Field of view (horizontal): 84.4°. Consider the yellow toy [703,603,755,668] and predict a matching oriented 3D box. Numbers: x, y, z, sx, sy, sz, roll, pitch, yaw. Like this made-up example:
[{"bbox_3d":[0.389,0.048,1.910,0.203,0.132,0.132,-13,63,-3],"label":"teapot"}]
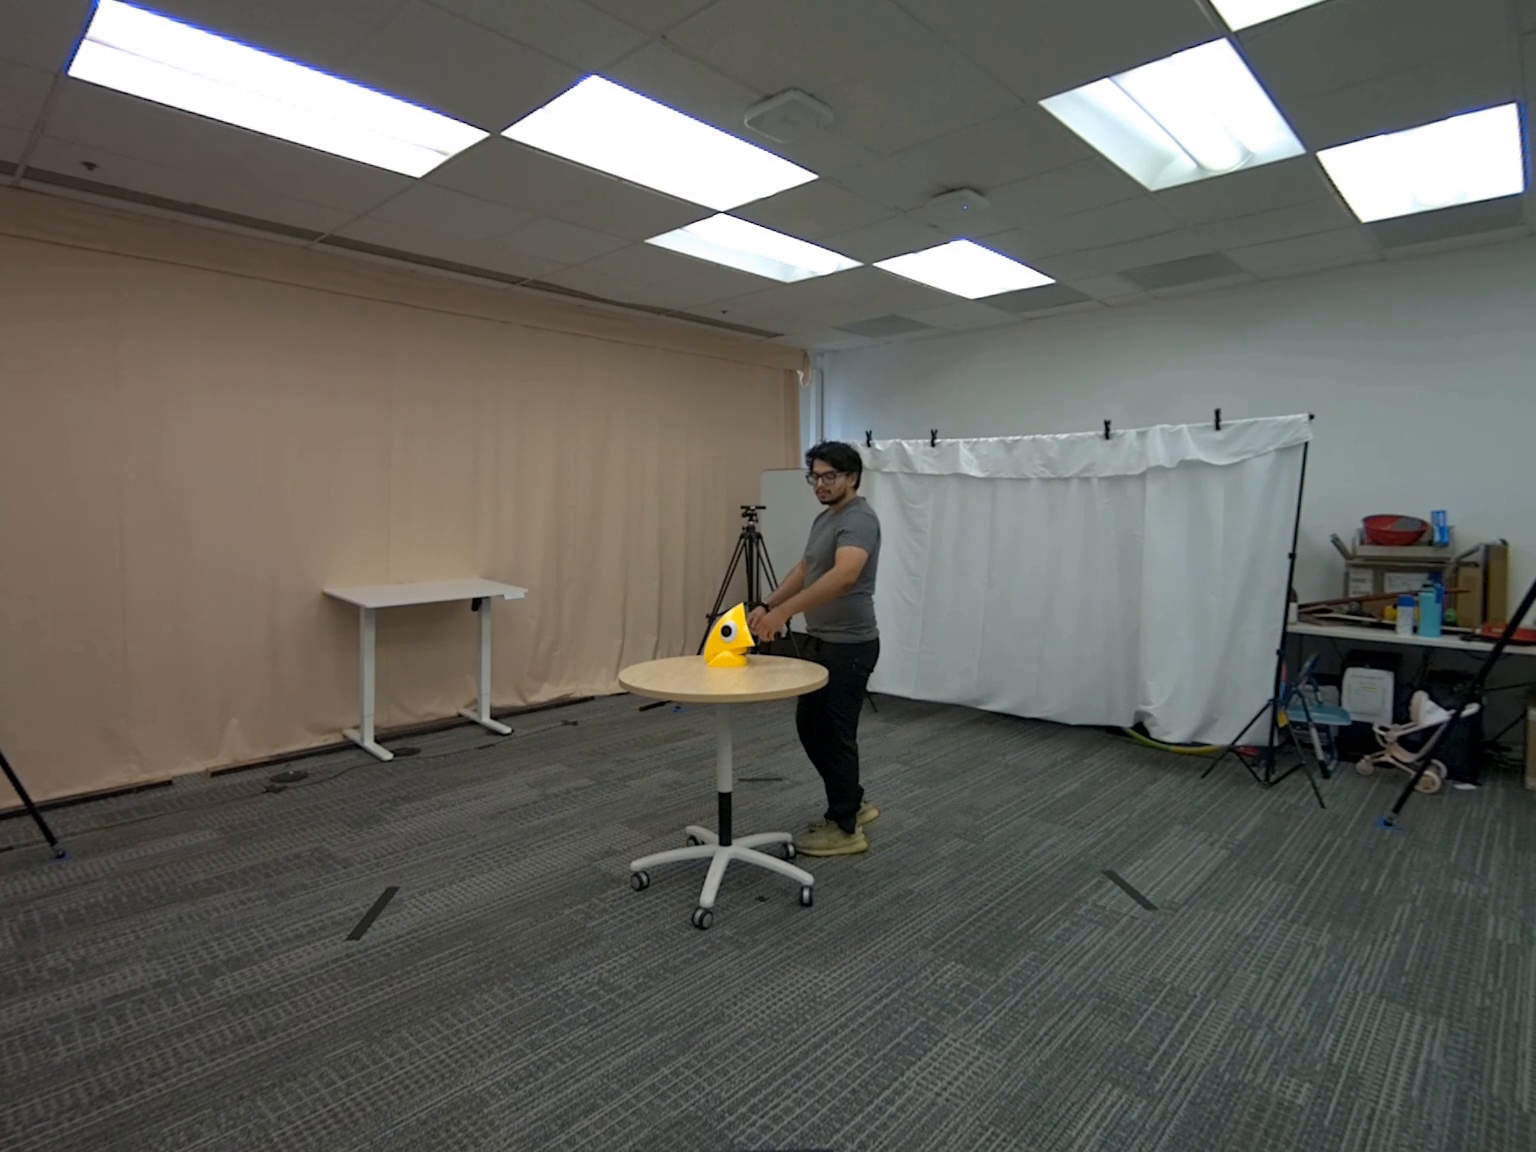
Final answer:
[{"bbox_3d":[-0.159,0.224,3.279,0.191,0.230,0.207,-1,4,-8],"label":"yellow toy"}]
